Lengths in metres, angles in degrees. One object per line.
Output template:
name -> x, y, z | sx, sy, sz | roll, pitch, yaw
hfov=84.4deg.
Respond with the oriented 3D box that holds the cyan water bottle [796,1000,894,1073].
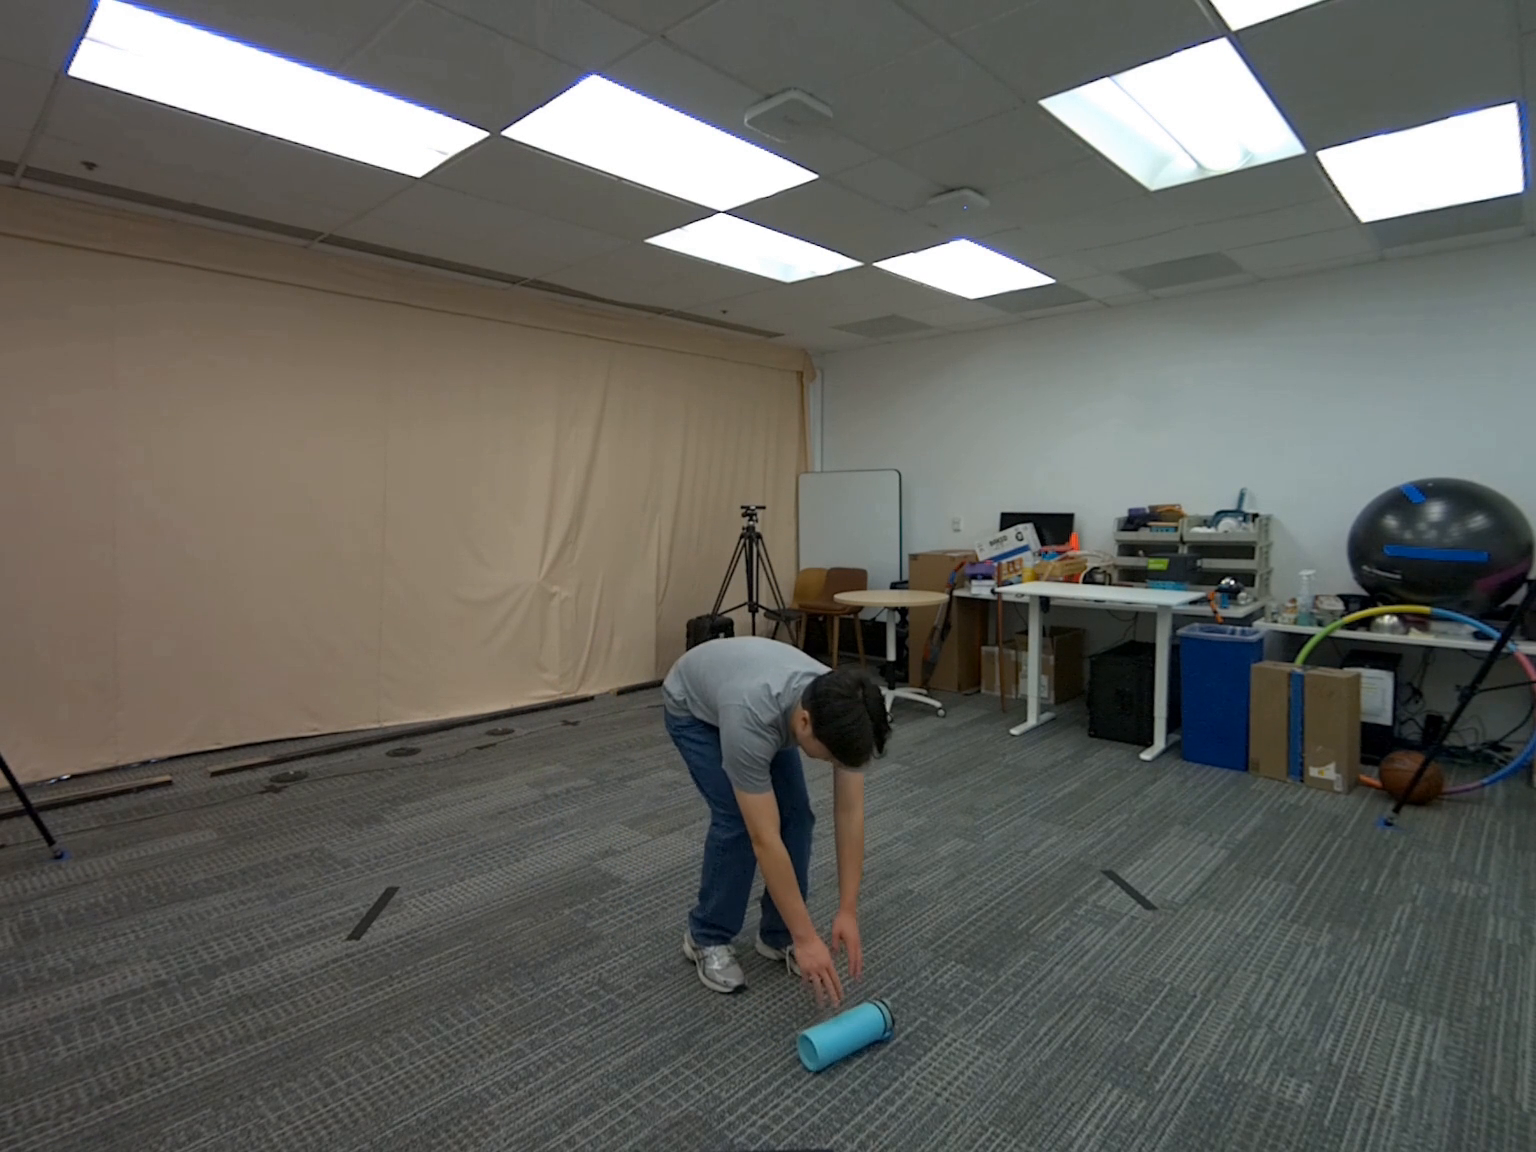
cyan water bottle -> 0.211, 1.165, 2.153 | 0.275, 0.092, 0.095 | -3, 5, -32
